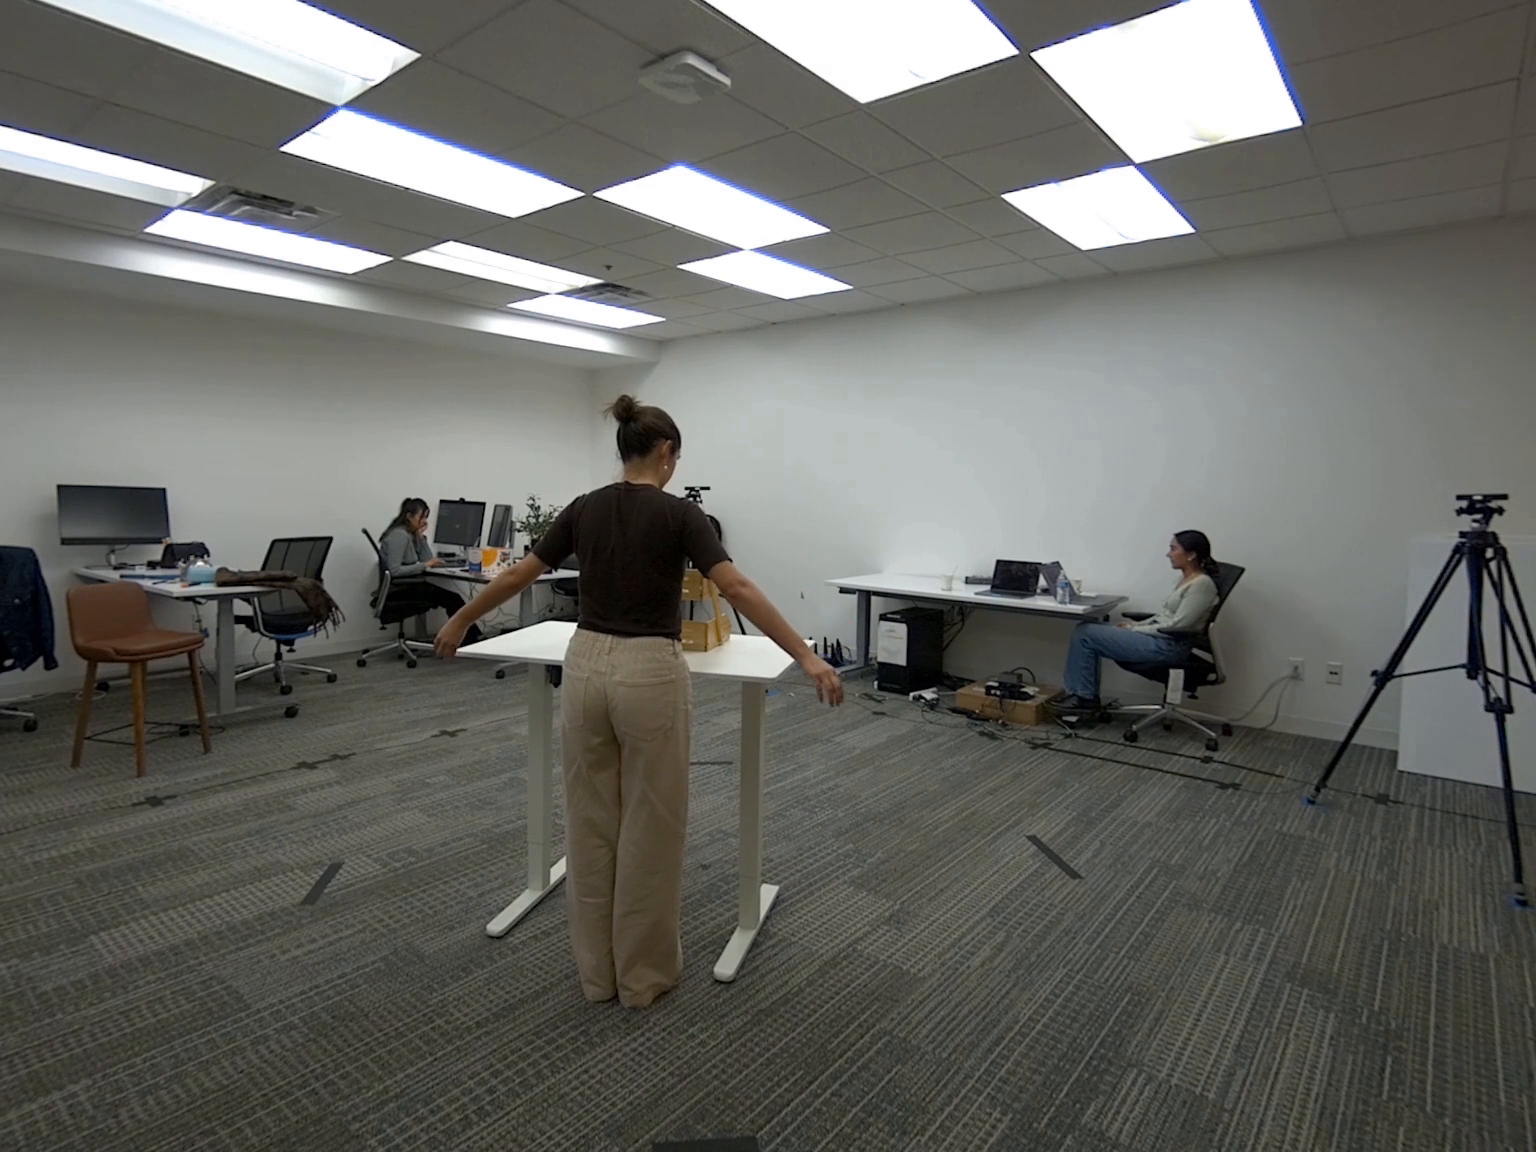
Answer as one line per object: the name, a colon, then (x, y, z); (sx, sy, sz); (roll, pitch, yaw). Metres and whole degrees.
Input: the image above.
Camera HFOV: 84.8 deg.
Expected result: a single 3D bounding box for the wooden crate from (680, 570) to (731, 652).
wooden crate: (-0.317, 0.085, 2.762); (0.331, 0.272, 0.298); (2, 6, 17)
